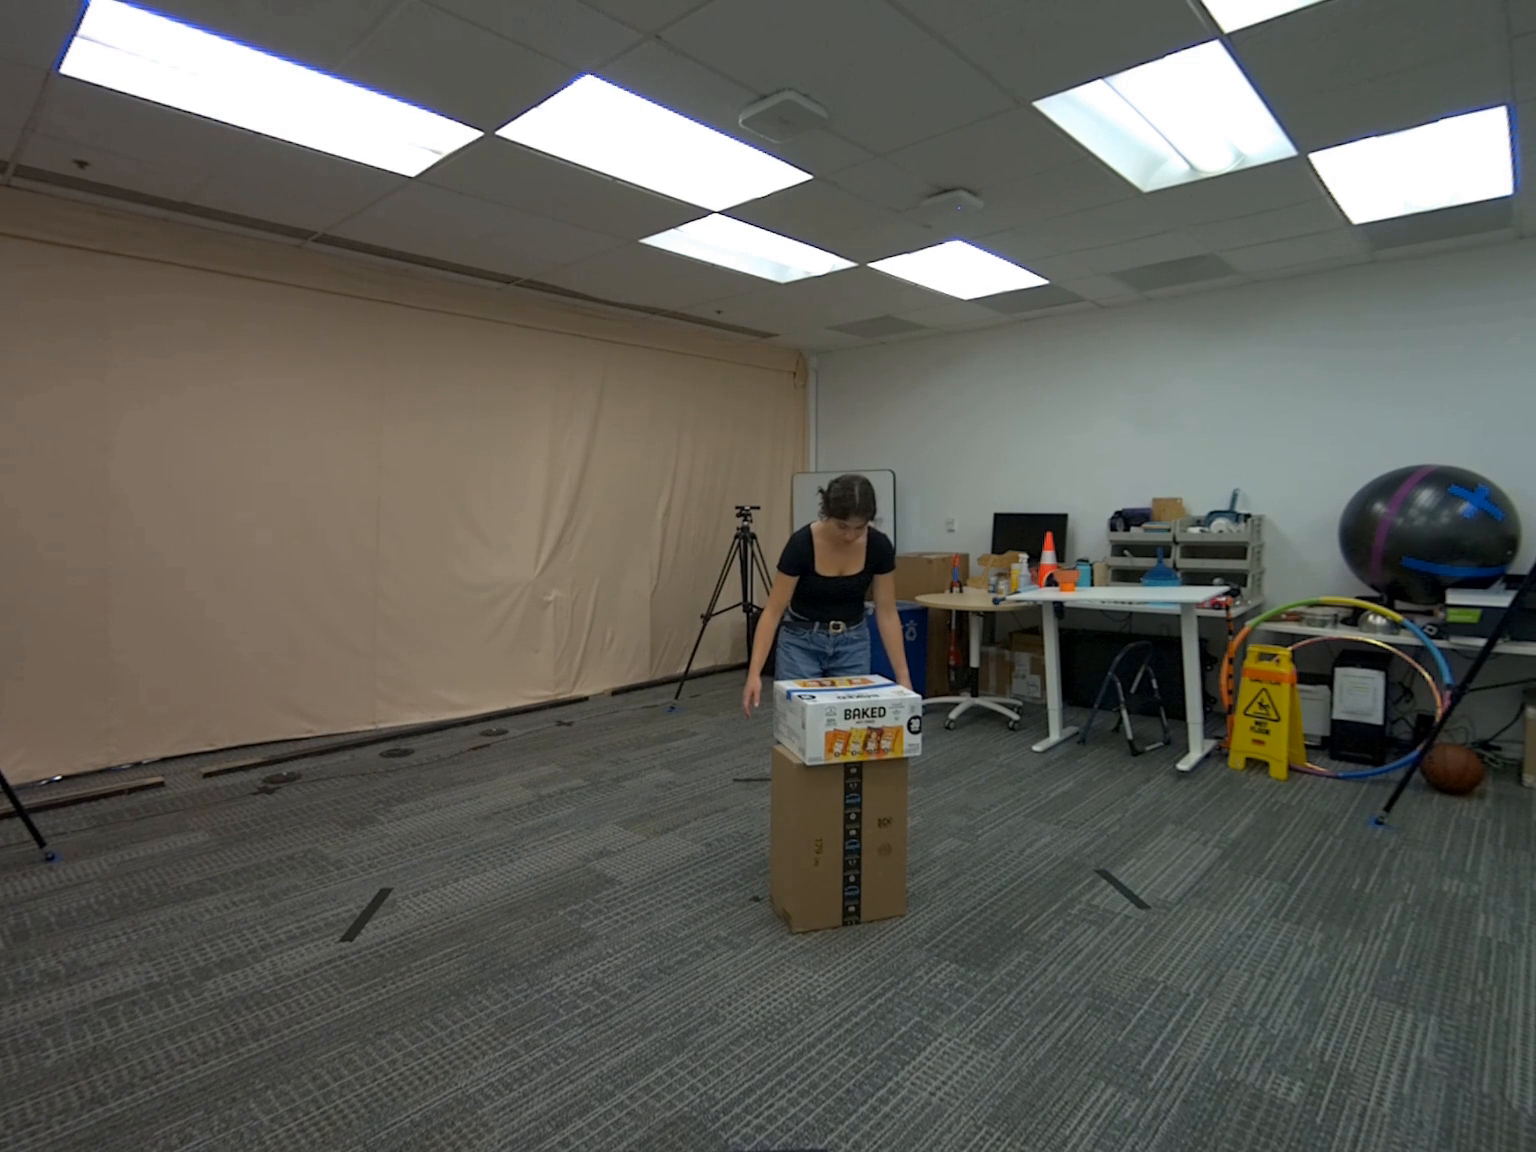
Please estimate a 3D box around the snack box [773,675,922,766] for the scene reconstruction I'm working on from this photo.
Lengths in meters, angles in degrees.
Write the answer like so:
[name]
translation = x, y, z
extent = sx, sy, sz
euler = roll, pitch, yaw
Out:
[snack box]
translation = 0.263, 0.483, 2.883
extent = 0.399, 0.205, 0.347
euler = -2, 4, -16
